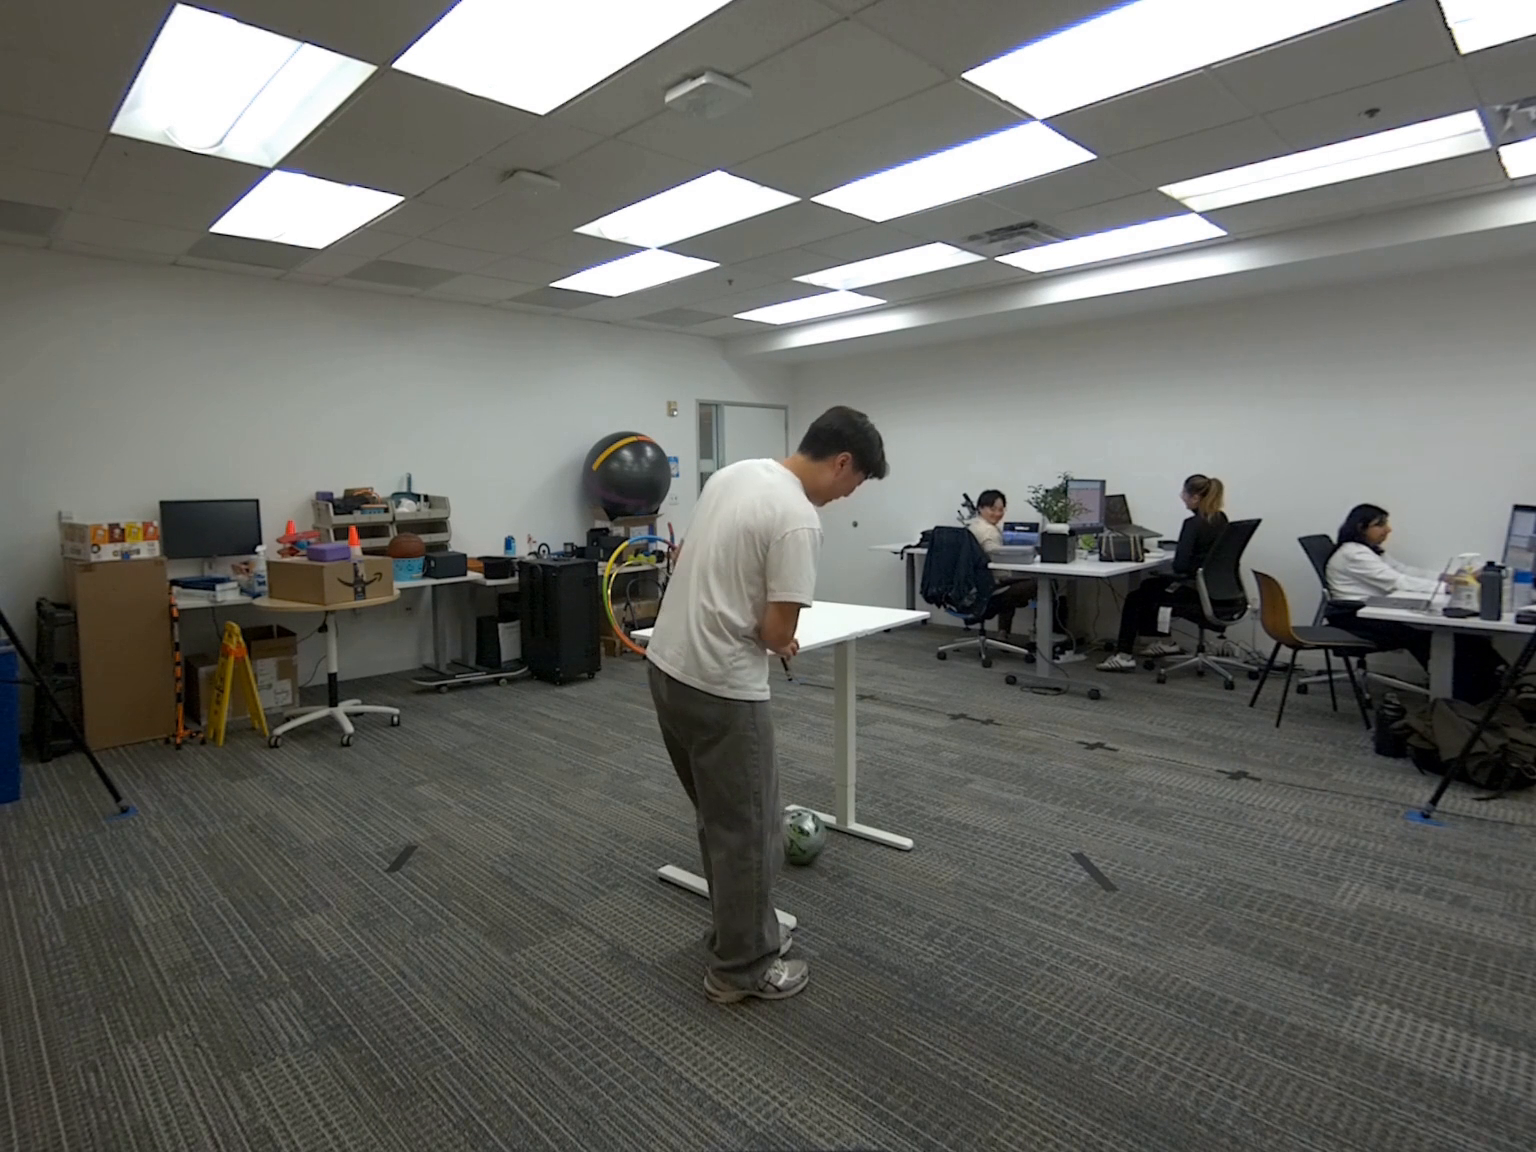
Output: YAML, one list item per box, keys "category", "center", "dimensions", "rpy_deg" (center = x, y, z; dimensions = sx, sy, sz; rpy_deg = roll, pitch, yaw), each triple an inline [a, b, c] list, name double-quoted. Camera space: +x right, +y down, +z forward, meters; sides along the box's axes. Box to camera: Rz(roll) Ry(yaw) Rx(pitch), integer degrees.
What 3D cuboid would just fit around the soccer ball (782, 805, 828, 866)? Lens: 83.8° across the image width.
- category: "soccer ball"
  center: [0.121, 0.949, 3.116]
  dimensions: [0.187, 0.187, 0.188]
  rpy_deg: [-1, 5, -2]
